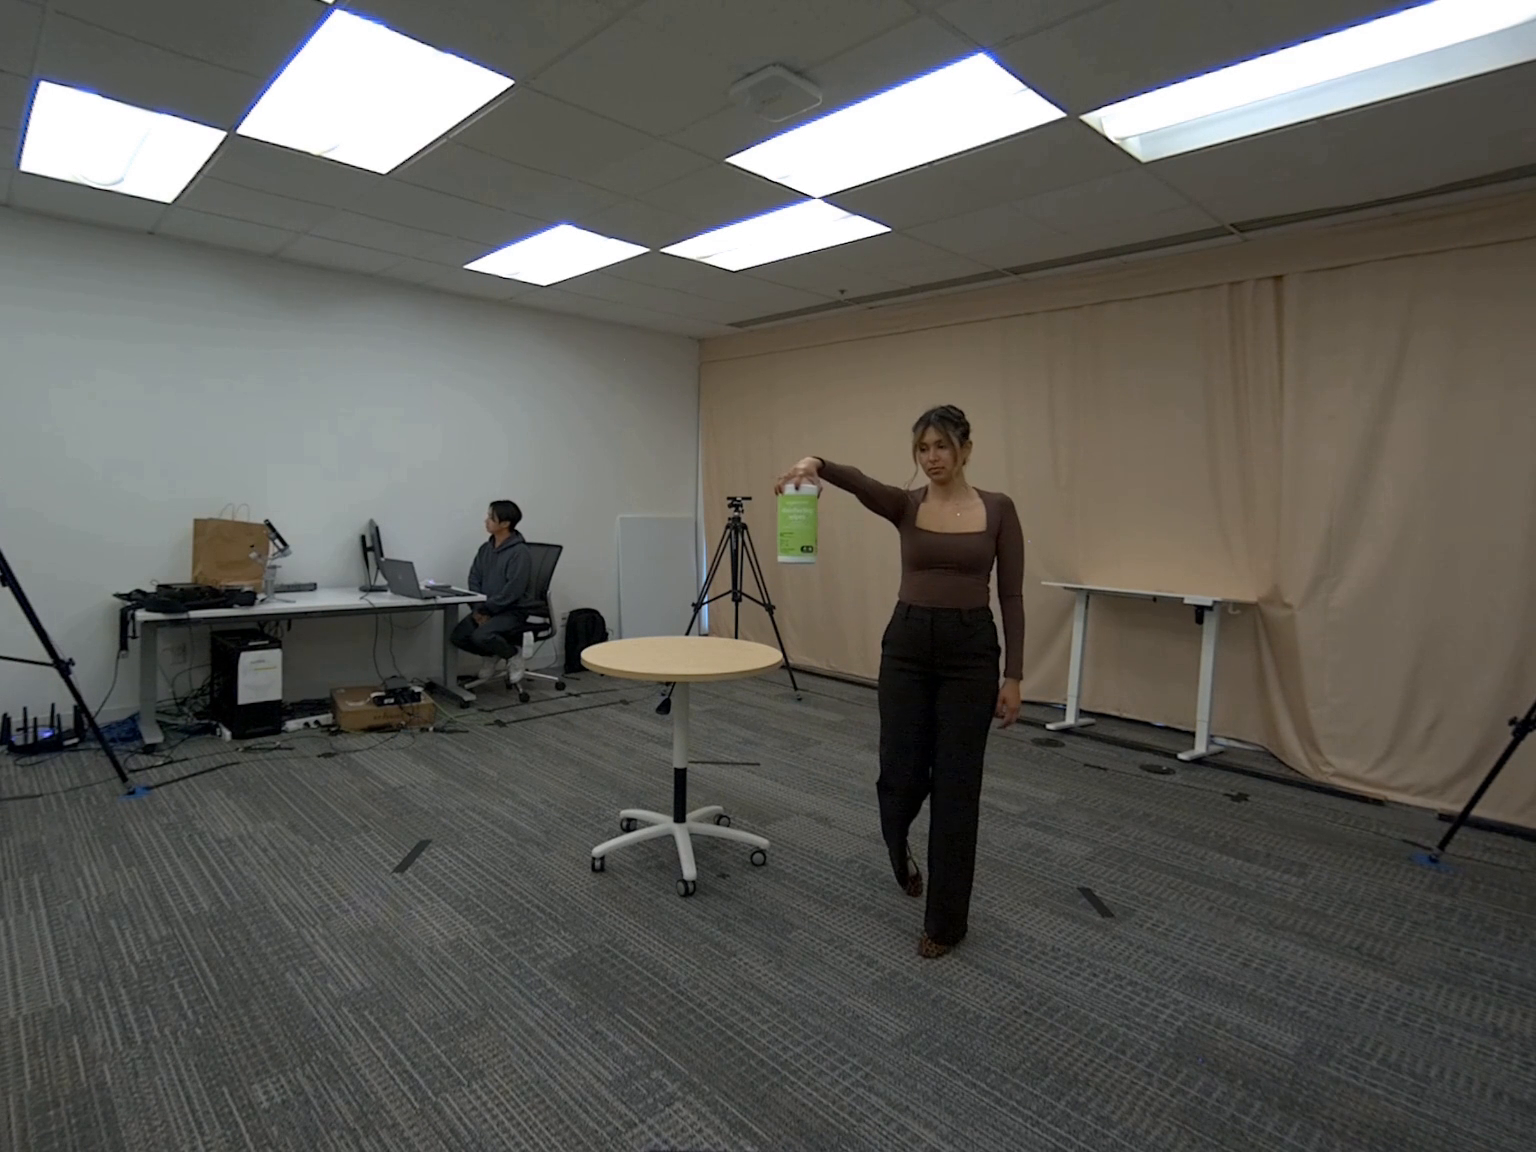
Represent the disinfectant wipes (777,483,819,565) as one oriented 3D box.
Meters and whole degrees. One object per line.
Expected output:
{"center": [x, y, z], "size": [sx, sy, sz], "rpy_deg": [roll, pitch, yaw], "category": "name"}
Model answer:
{"center": [0.075, -0.137, 2.313], "size": [0.118, 0.217, 0.118], "rpy_deg": [1, 0, -1], "category": "disinfectant wipes"}
